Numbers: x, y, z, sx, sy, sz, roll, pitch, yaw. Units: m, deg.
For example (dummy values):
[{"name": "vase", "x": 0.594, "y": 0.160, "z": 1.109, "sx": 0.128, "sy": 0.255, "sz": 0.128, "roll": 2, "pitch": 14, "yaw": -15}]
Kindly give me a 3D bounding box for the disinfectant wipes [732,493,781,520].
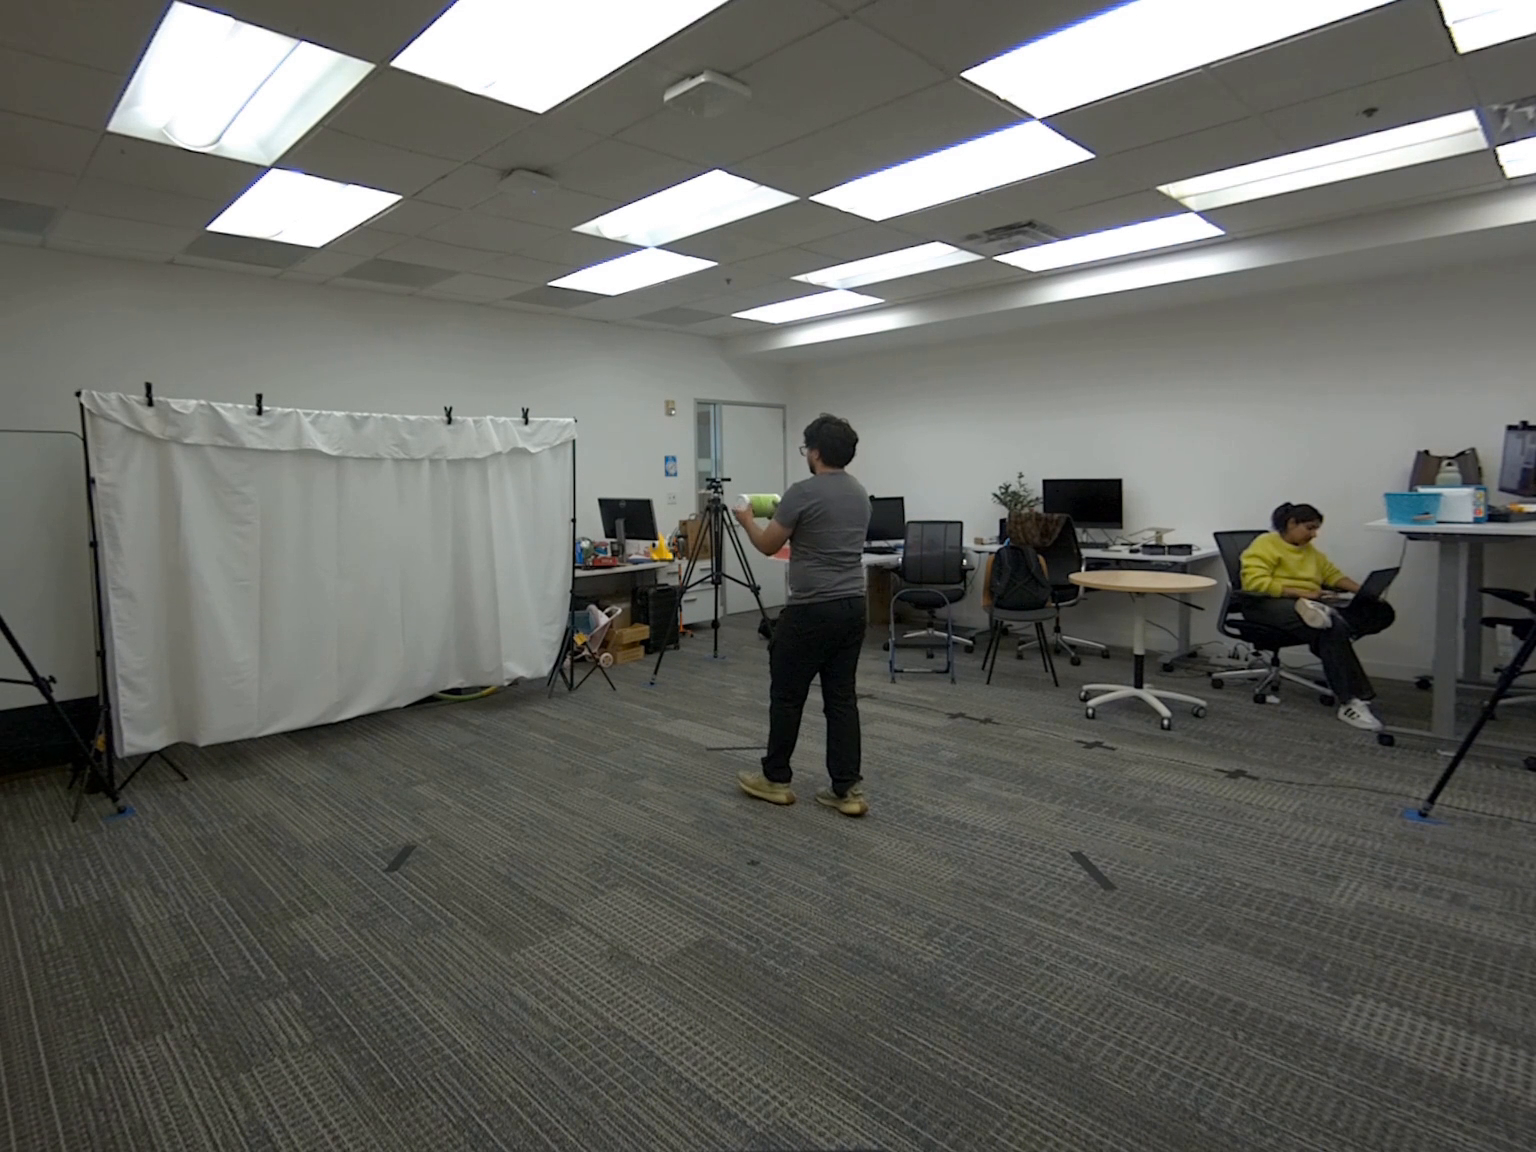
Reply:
[{"name": "disinfectant wipes", "x": -0.044, "y": -0.326, "z": 3.964, "sx": 0.212, "sy": 0.117, "sz": 0.121, "roll": -3, "pitch": 5, "yaw": -37}]
